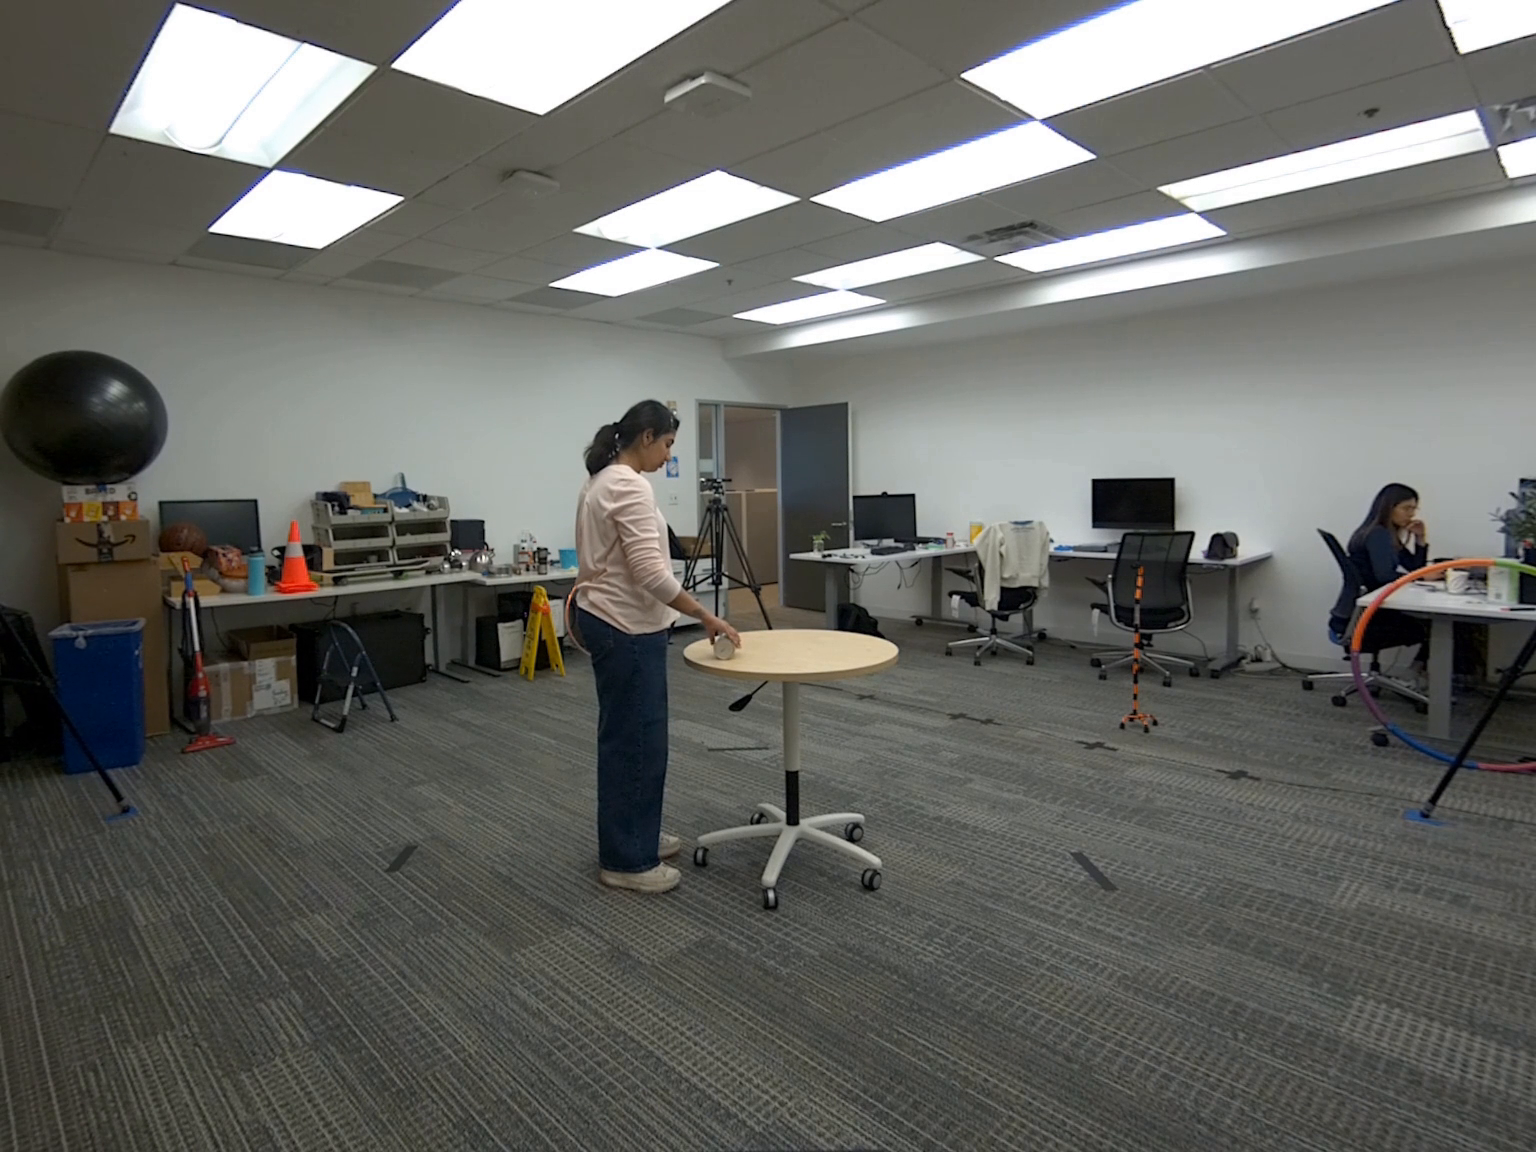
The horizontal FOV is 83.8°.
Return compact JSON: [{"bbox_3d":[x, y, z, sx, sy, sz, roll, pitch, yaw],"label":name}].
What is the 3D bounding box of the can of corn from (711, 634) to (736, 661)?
[{"bbox_3d":[-0.142,0.242,2.962,0.074,0.073,0.111,-1,9,2],"label":"can of corn"}]
